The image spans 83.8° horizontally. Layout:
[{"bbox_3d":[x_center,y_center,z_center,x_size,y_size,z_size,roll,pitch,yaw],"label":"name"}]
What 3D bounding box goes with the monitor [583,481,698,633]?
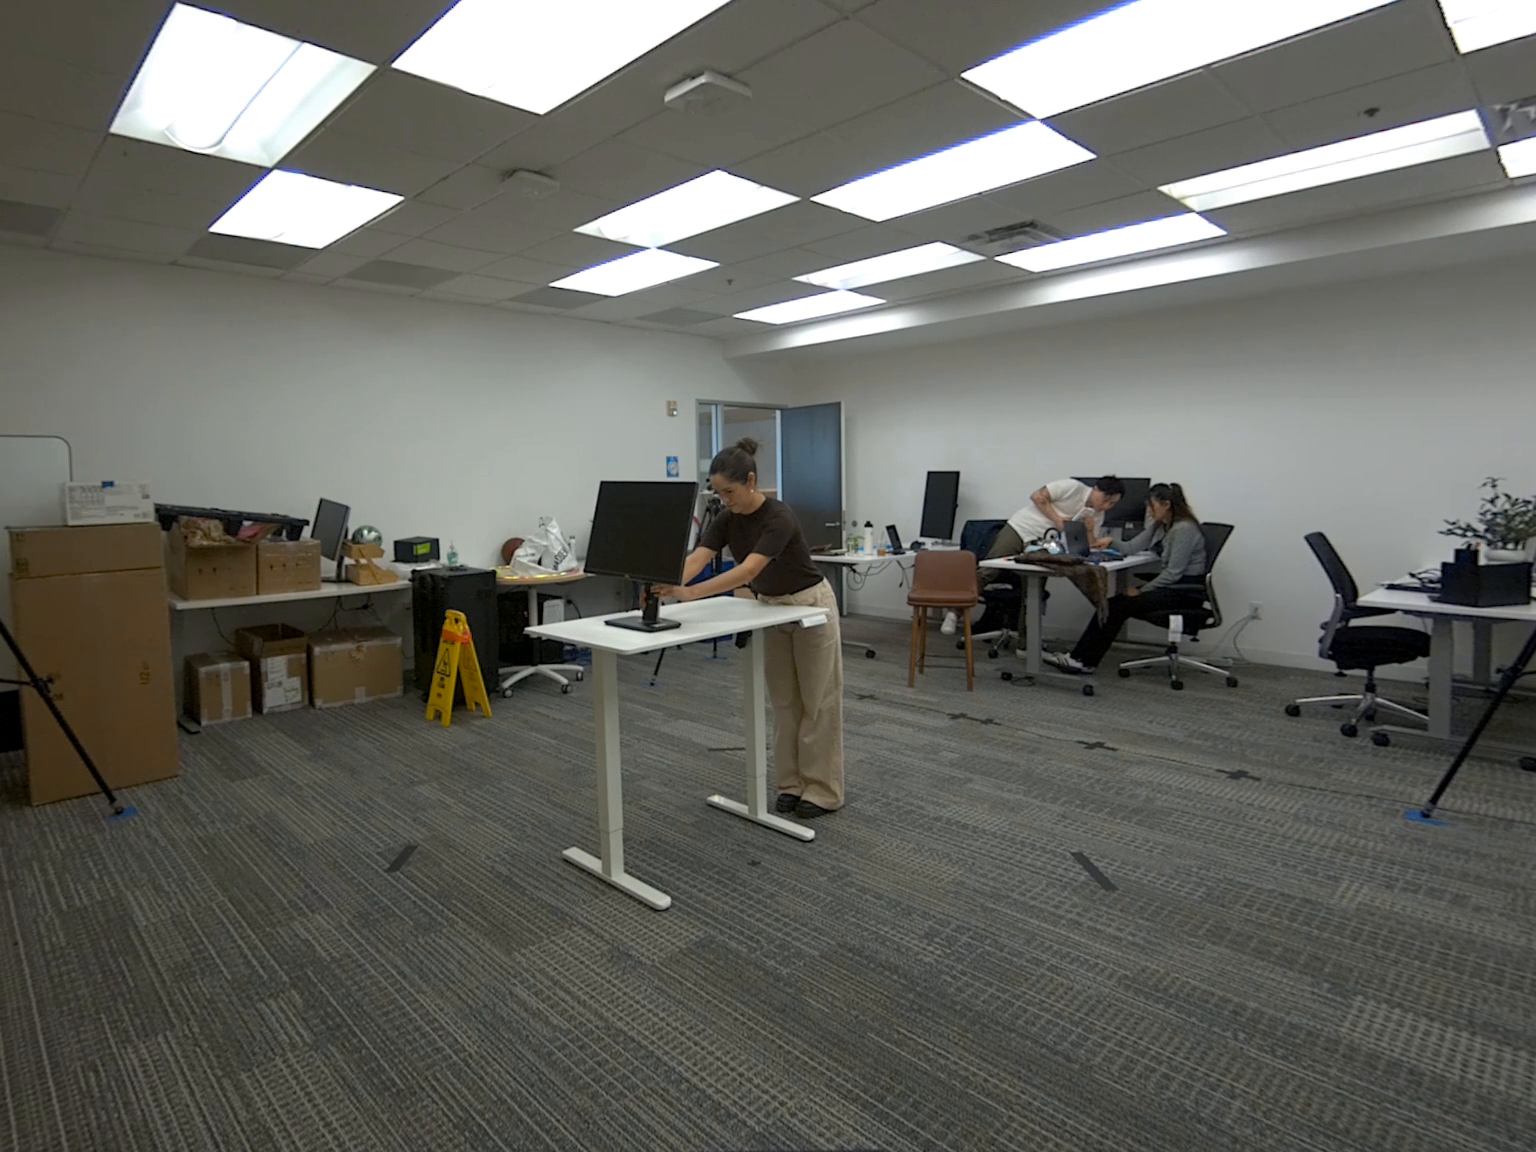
[{"bbox_3d":[-0.439,-0.077,3.035,0.547,0.512,0.170,6,10,43],"label":"monitor"}]
